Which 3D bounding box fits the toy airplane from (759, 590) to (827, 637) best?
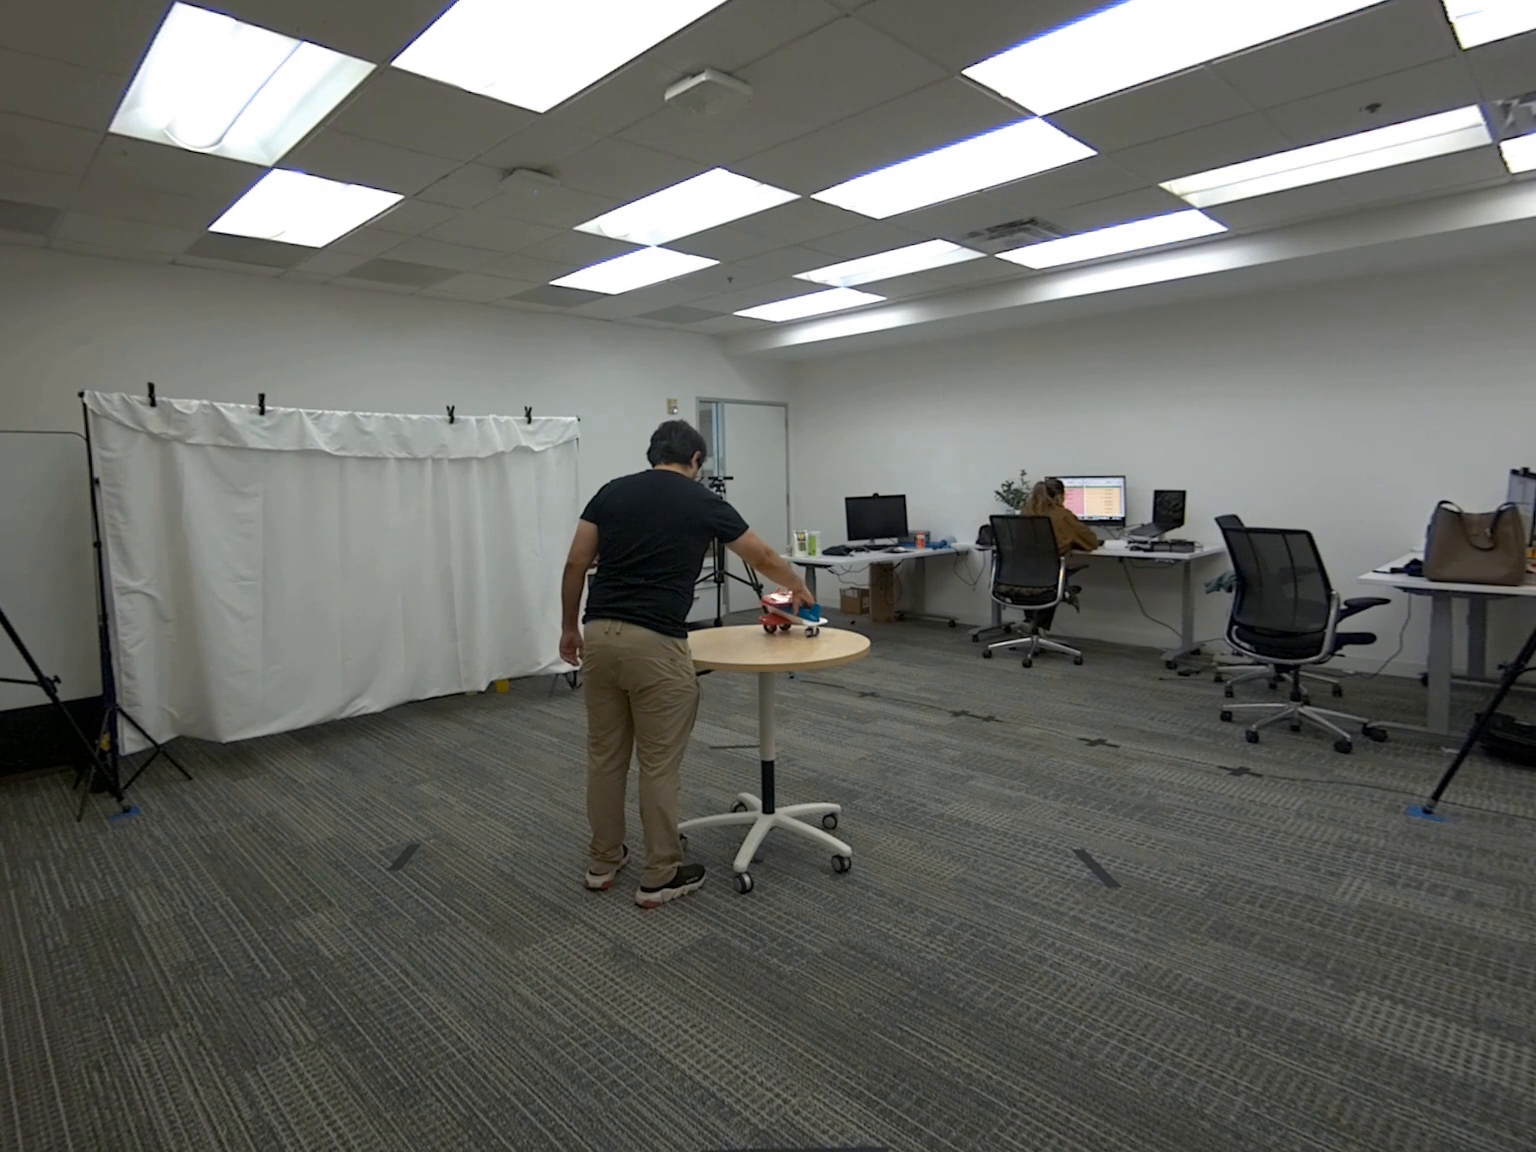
[{"bbox_3d":[0.109,0.149,3.330,0.264,0.156,0.248,-1,5,17],"label":"toy airplane"}]
